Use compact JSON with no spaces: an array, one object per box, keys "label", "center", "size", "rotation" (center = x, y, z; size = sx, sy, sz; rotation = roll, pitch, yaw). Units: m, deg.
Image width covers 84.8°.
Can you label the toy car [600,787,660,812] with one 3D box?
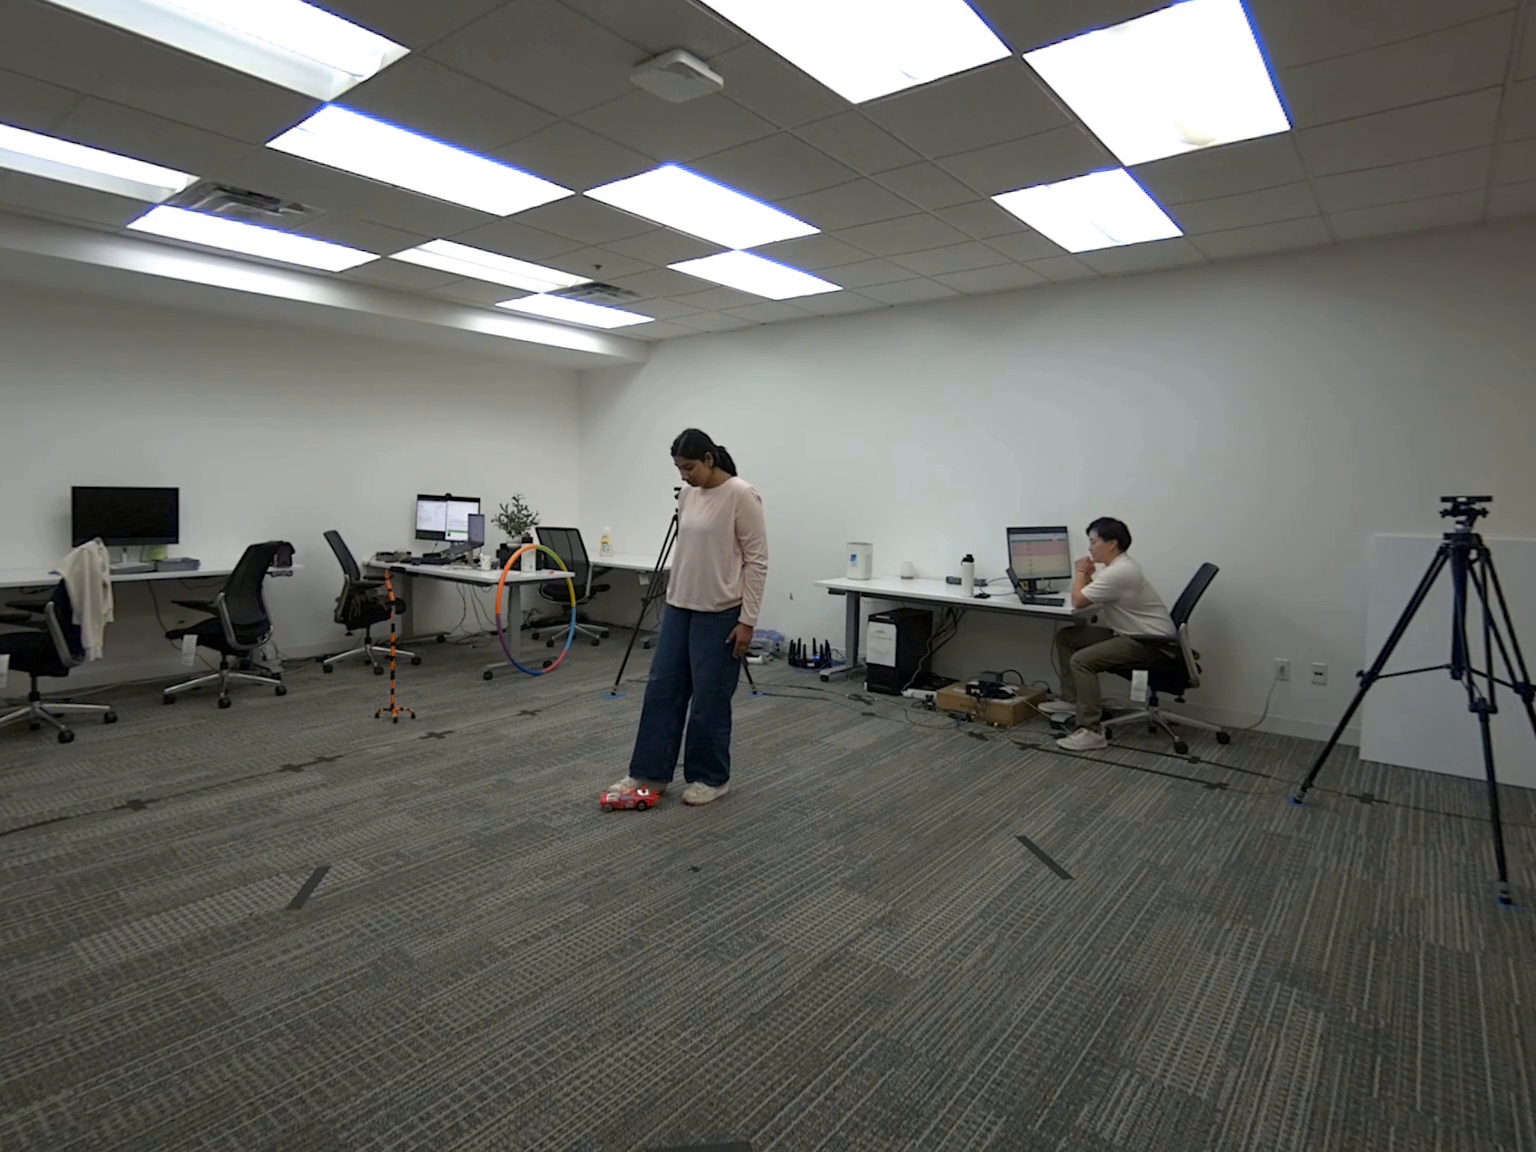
[{"label":"toy car","center":[-0.617,0.971,3.700],"size":[0.254,0.082,0.132],"rotation":[-11,7,-4]}]
